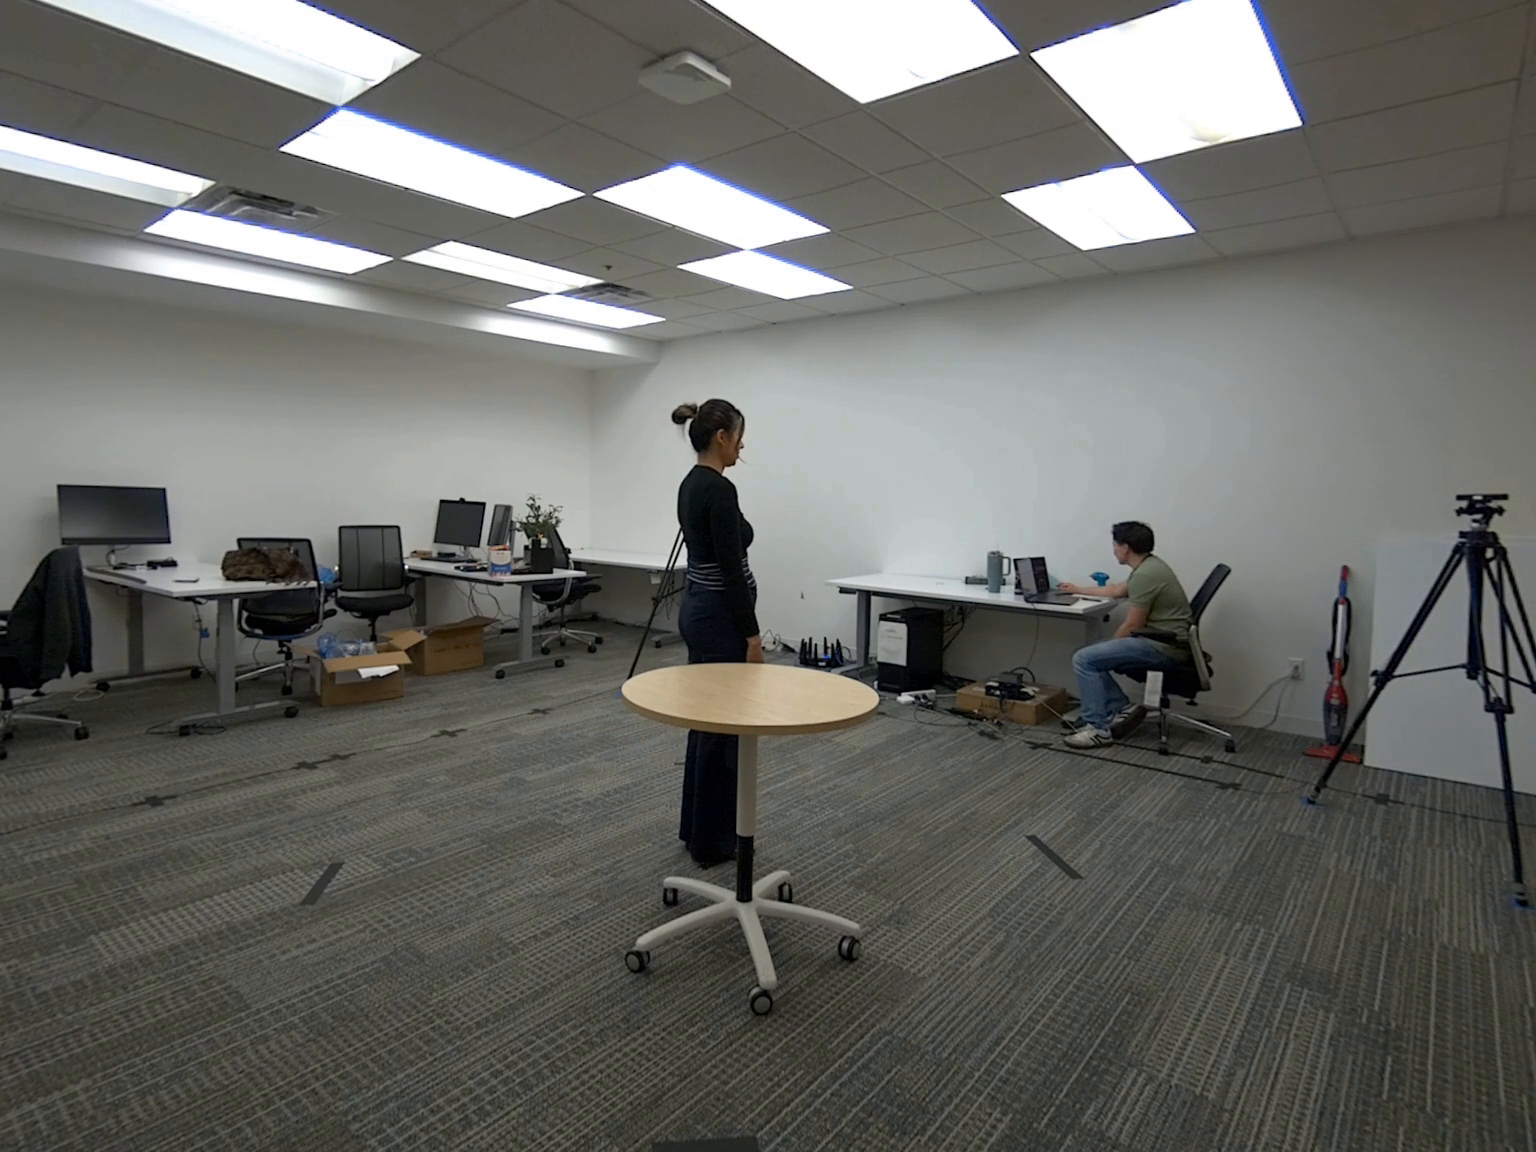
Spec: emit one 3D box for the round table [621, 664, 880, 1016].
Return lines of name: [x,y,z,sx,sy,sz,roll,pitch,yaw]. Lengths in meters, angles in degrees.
round table: [-0.079,0.732,2.573,0.763,0.791,0.768,1,5,-2]
